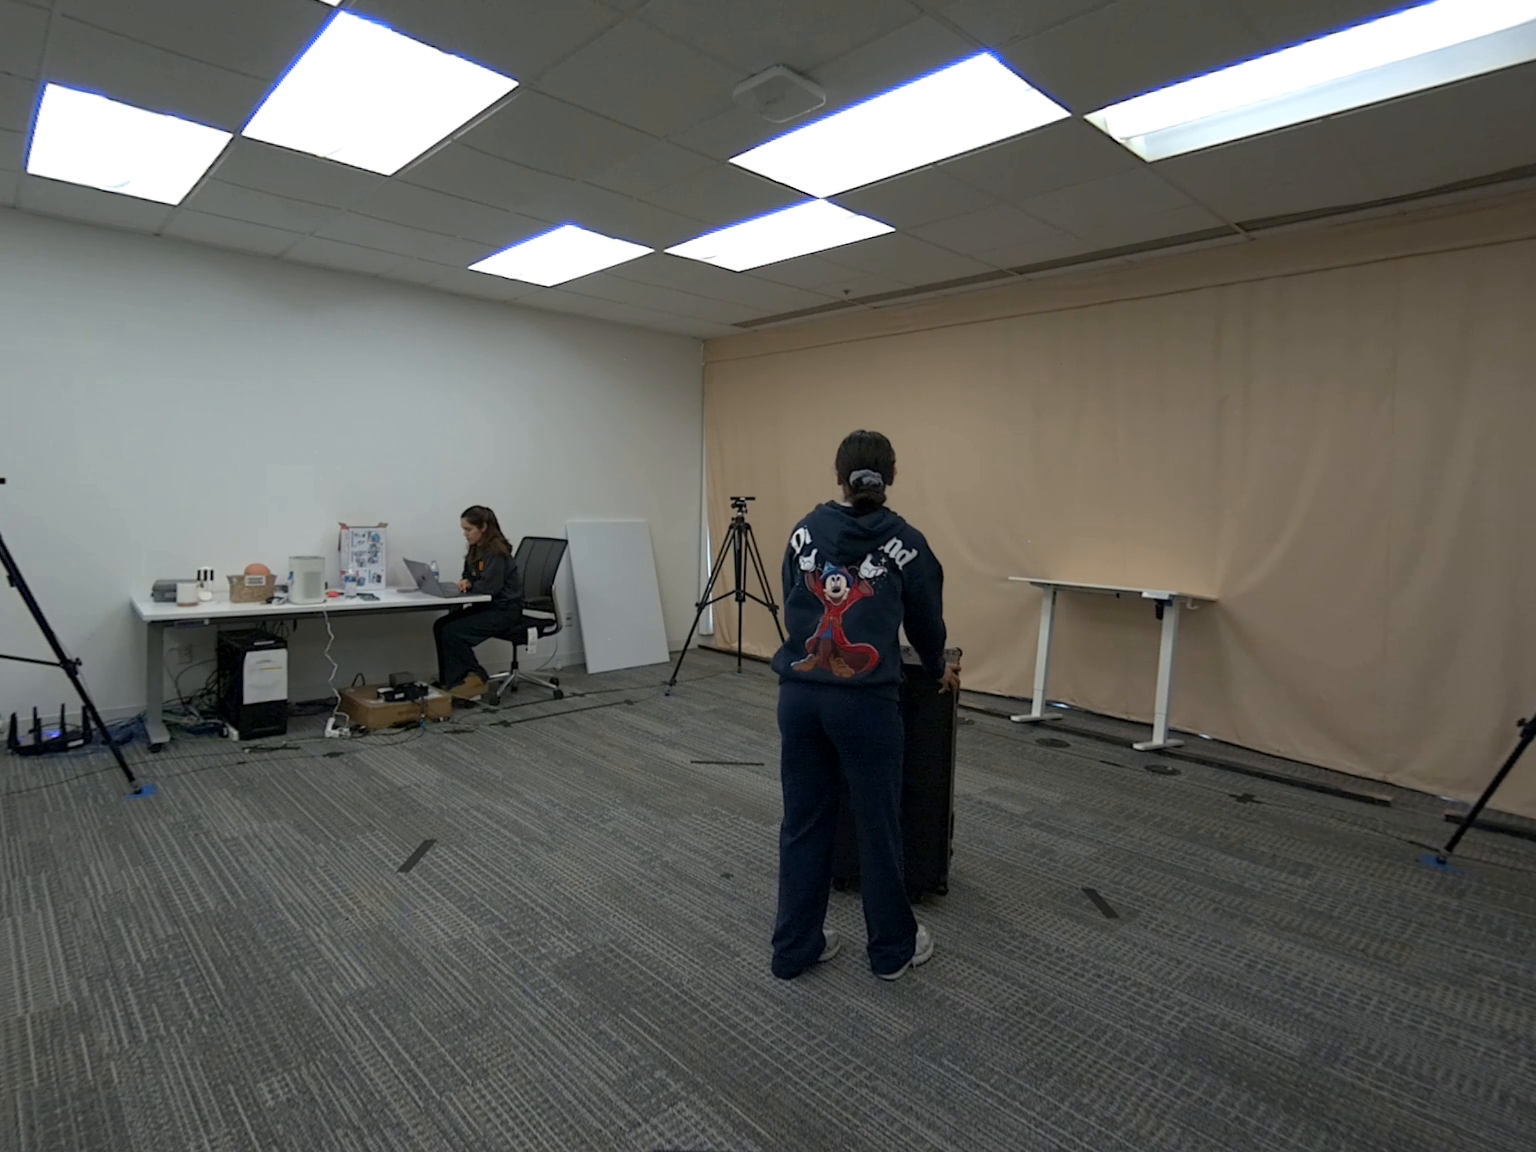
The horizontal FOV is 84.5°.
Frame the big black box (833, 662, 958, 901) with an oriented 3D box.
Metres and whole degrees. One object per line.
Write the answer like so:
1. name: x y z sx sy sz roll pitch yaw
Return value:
1. big black box: 0.426 0.703 3.044 0.528 0.858 0.392 2 5 17
